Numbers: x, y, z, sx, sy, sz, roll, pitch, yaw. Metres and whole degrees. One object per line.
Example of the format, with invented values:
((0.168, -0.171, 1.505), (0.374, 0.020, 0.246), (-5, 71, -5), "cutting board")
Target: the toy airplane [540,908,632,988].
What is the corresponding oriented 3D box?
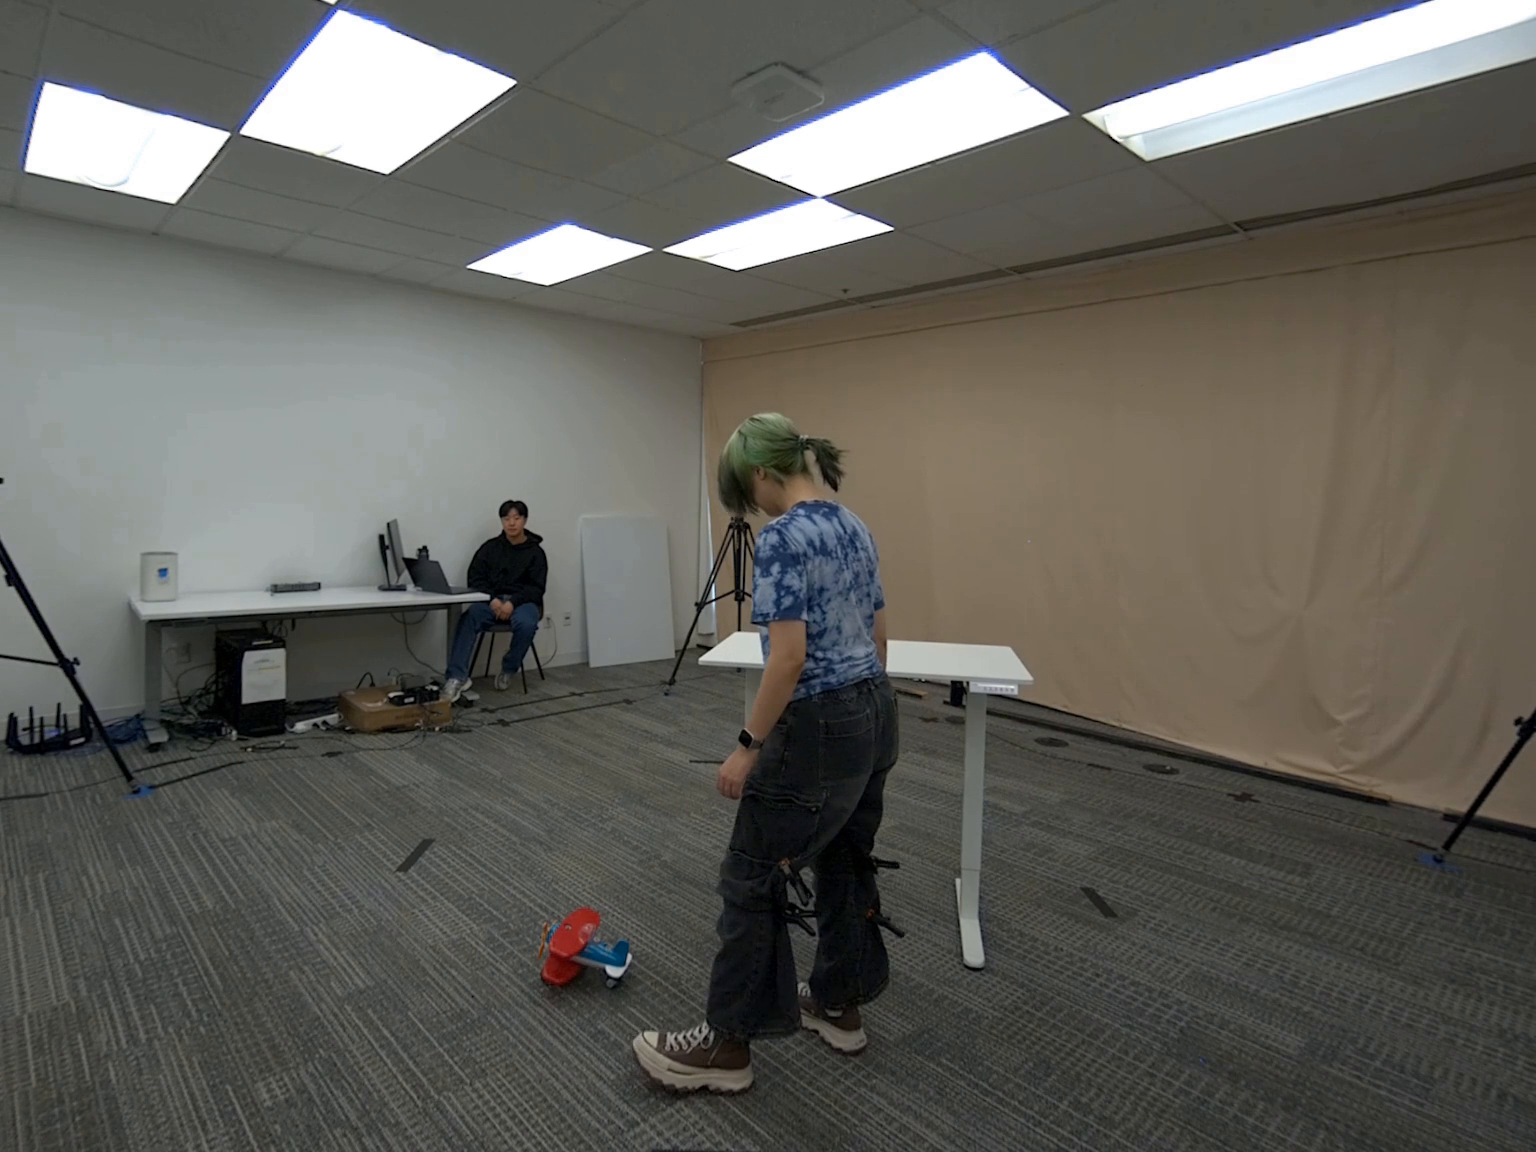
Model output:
((-0.532, 1.085, 2.427), (0.256, 0.156, 0.255), (-1, 5, -17), "toy airplane")
